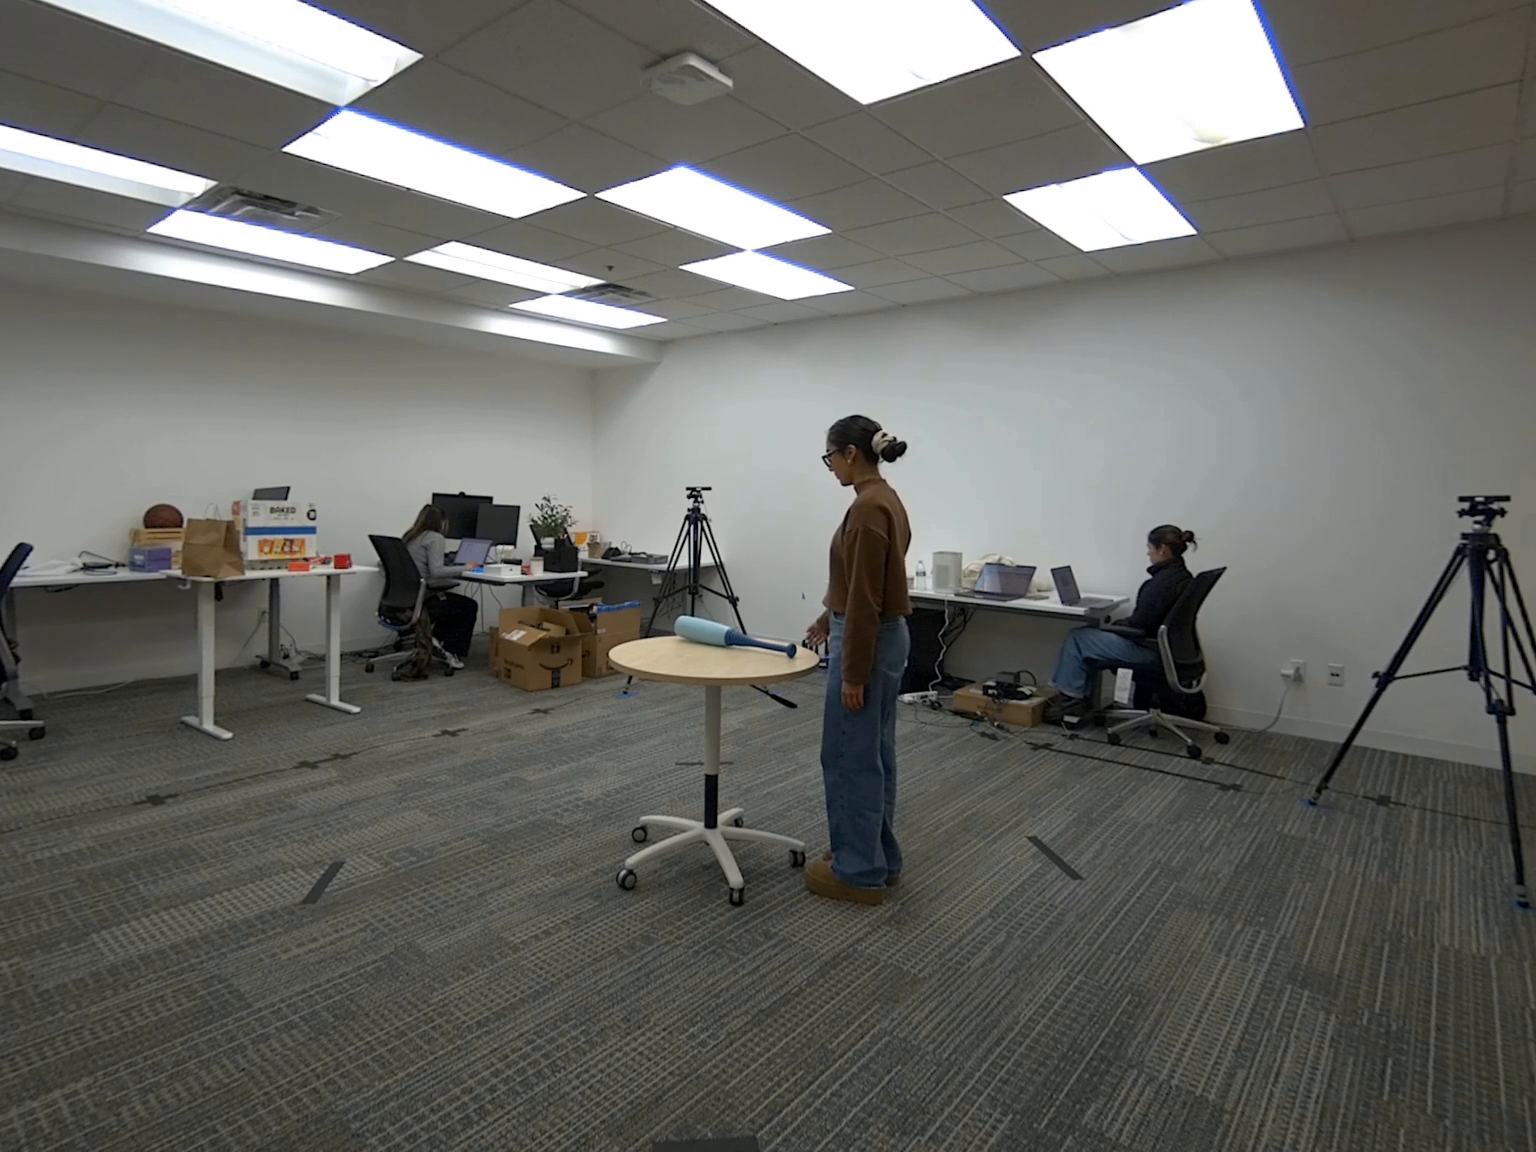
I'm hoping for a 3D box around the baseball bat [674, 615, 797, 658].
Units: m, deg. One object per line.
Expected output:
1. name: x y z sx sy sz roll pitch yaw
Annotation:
1. baseball bat: -0.132 0.236 3.234 0.561 0.088 0.086 9 8 35
